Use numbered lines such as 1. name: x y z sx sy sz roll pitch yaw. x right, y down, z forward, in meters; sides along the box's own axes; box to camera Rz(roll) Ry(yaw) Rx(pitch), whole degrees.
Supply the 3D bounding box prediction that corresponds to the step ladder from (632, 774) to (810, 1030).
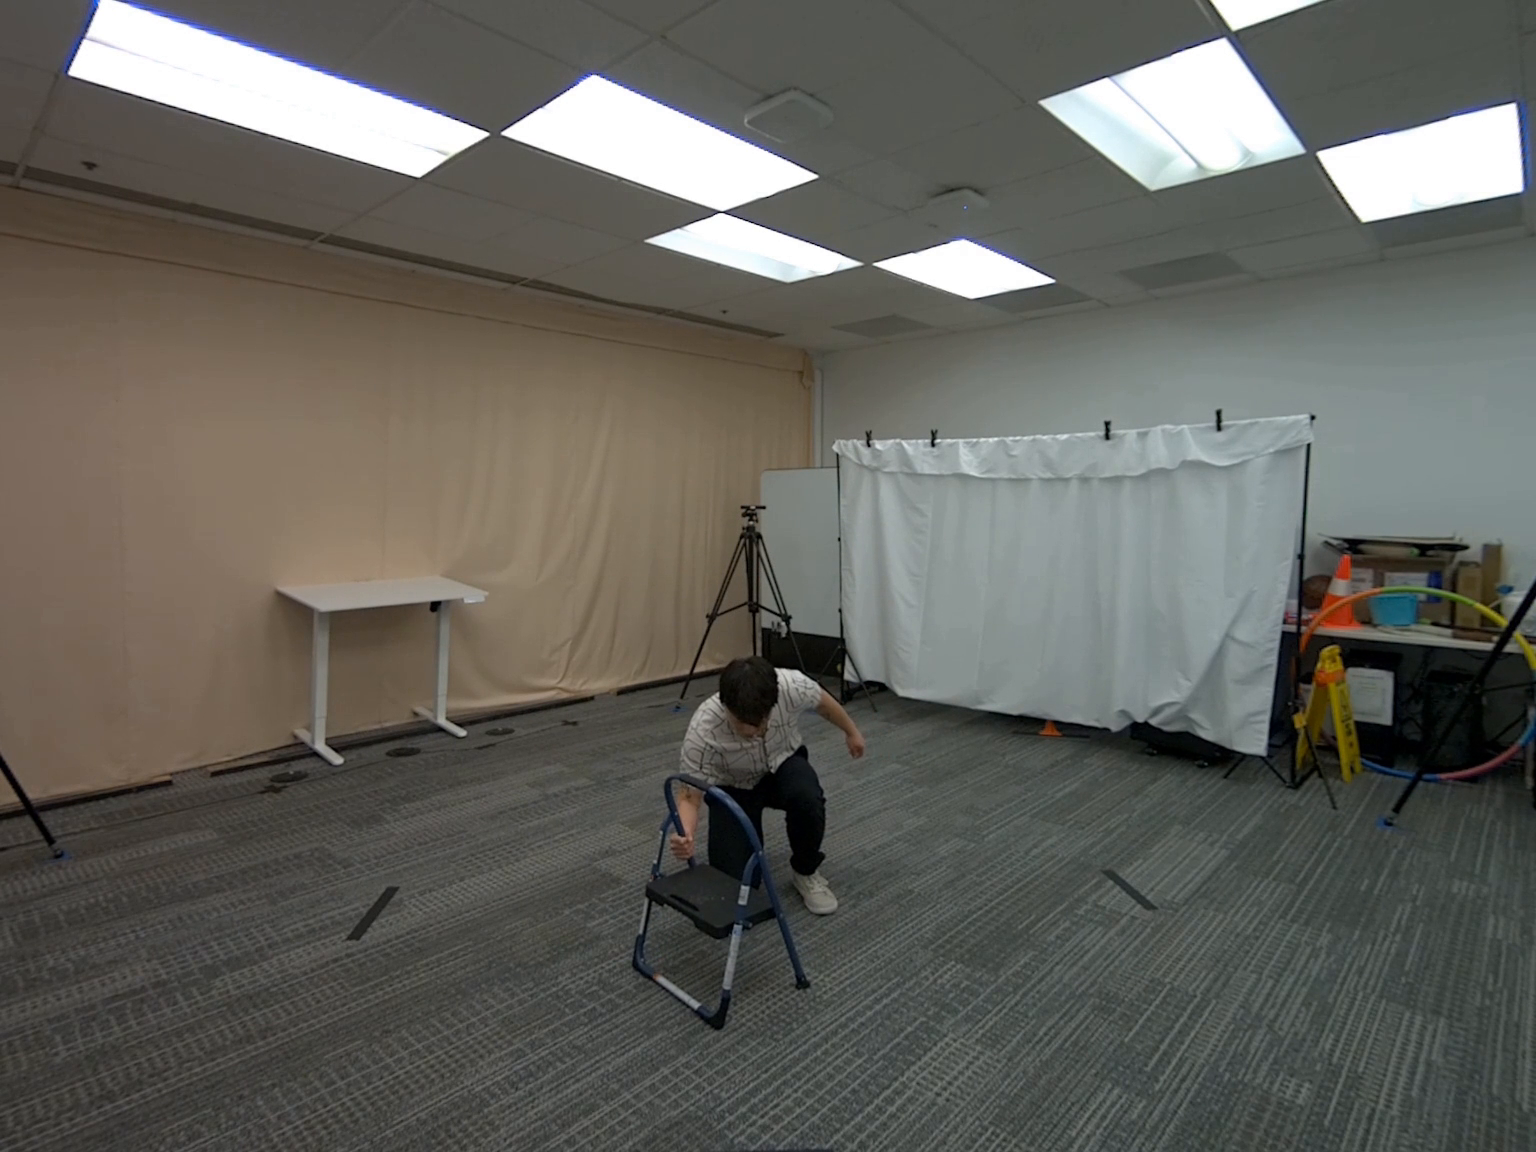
1. step ladder: -0.148 0.880 2.479 0.338 0.604 0.445 -3 5 -42
